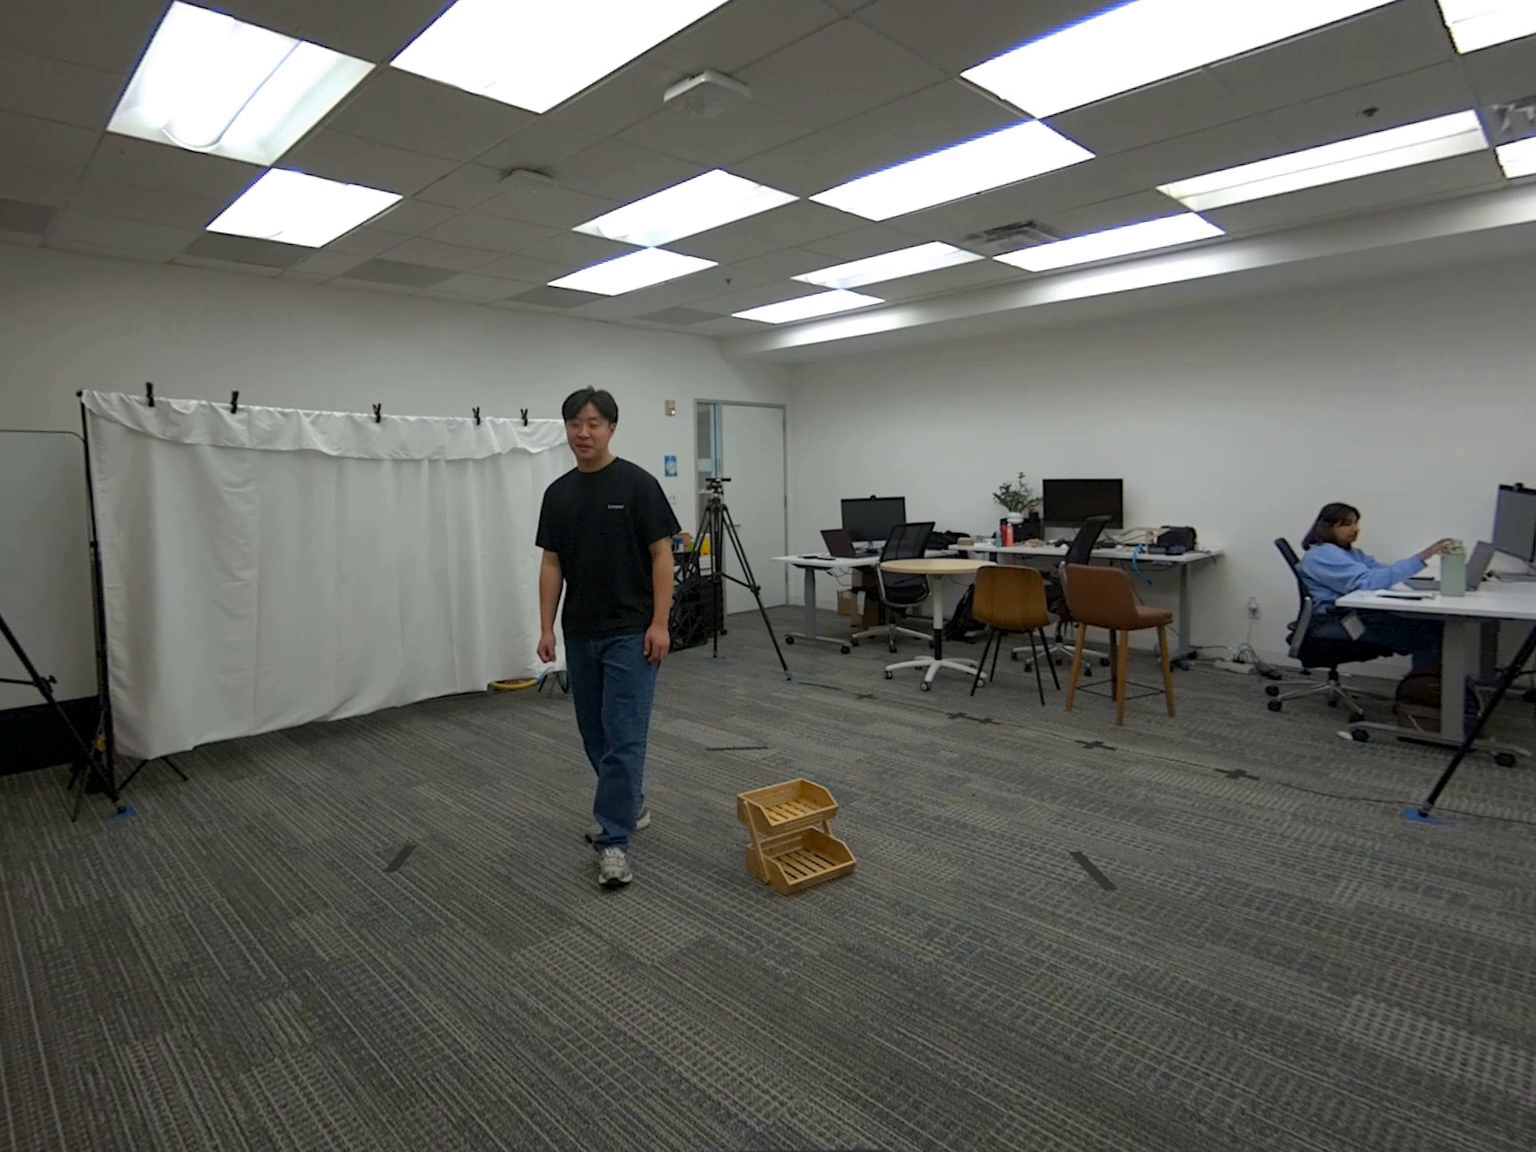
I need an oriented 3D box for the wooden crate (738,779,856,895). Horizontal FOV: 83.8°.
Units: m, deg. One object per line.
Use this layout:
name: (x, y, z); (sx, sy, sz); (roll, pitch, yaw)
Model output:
wooden crate: (0.103, 0.911, 3.033); (0.316, 0.272, 0.311); (-5, 5, -36)
